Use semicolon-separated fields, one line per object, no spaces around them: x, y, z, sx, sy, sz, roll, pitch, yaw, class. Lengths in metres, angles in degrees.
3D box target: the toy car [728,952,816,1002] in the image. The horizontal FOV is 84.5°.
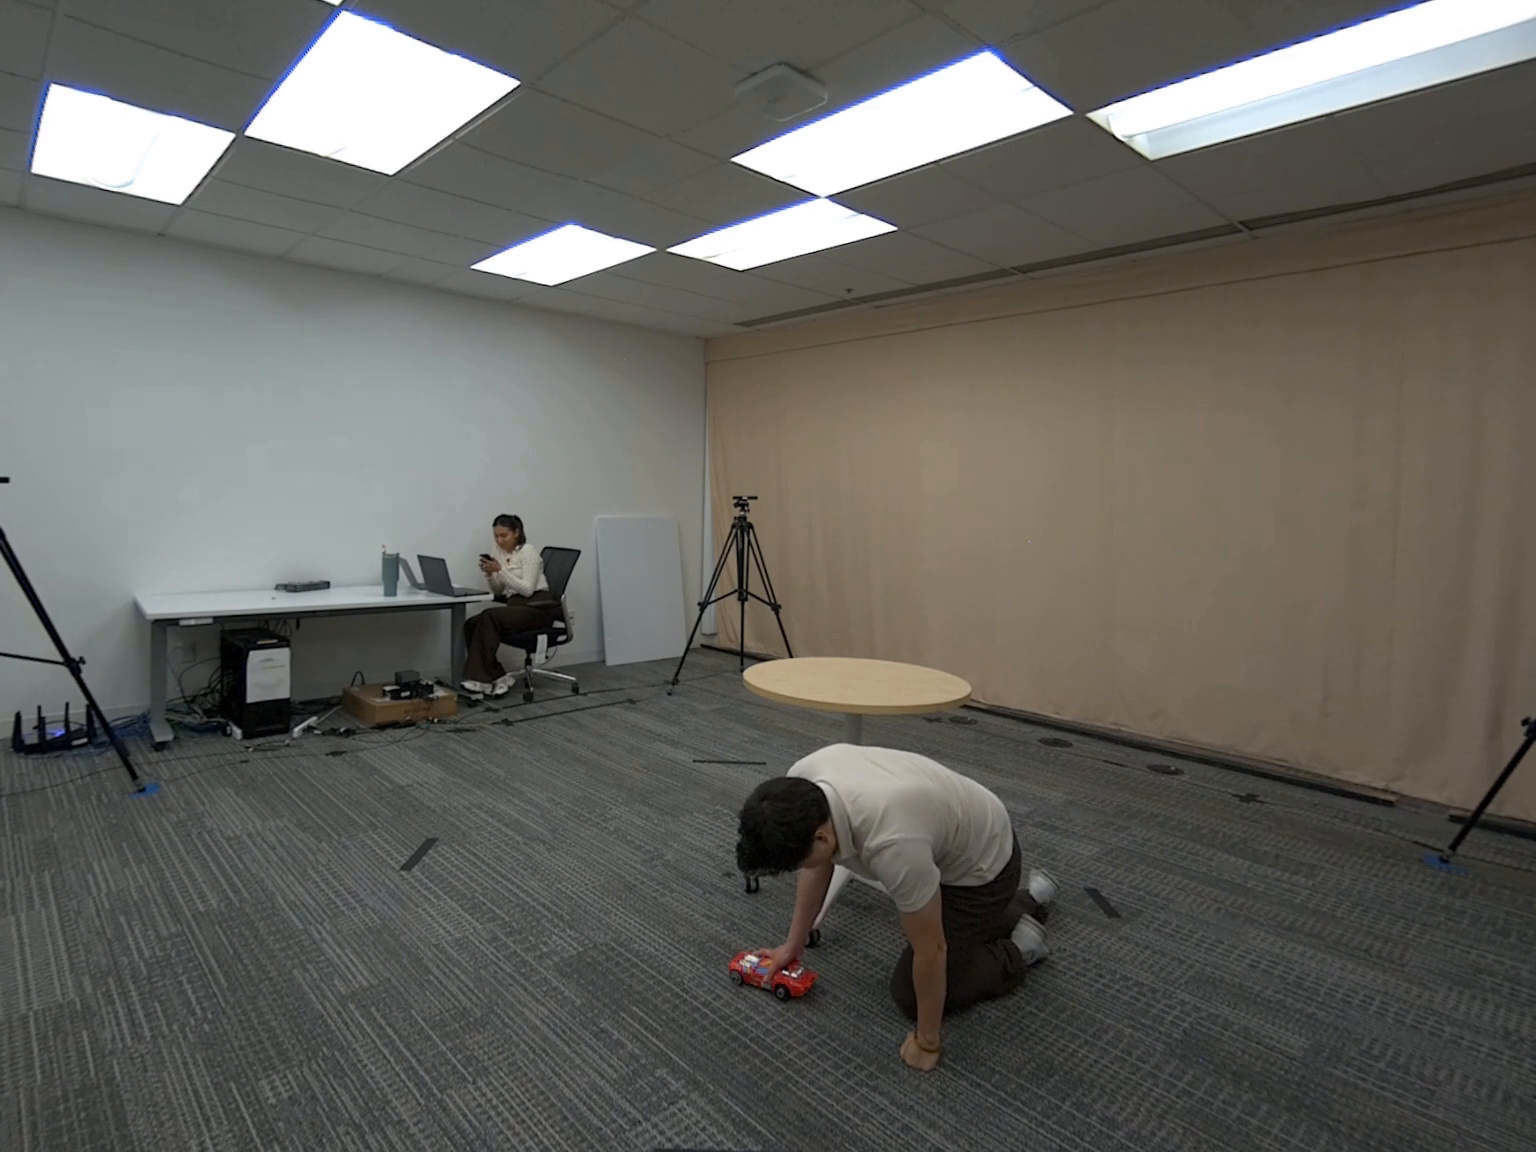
0.018;1.141;2.398;0.259;0.083;0.128;-8;0;28;toy car
